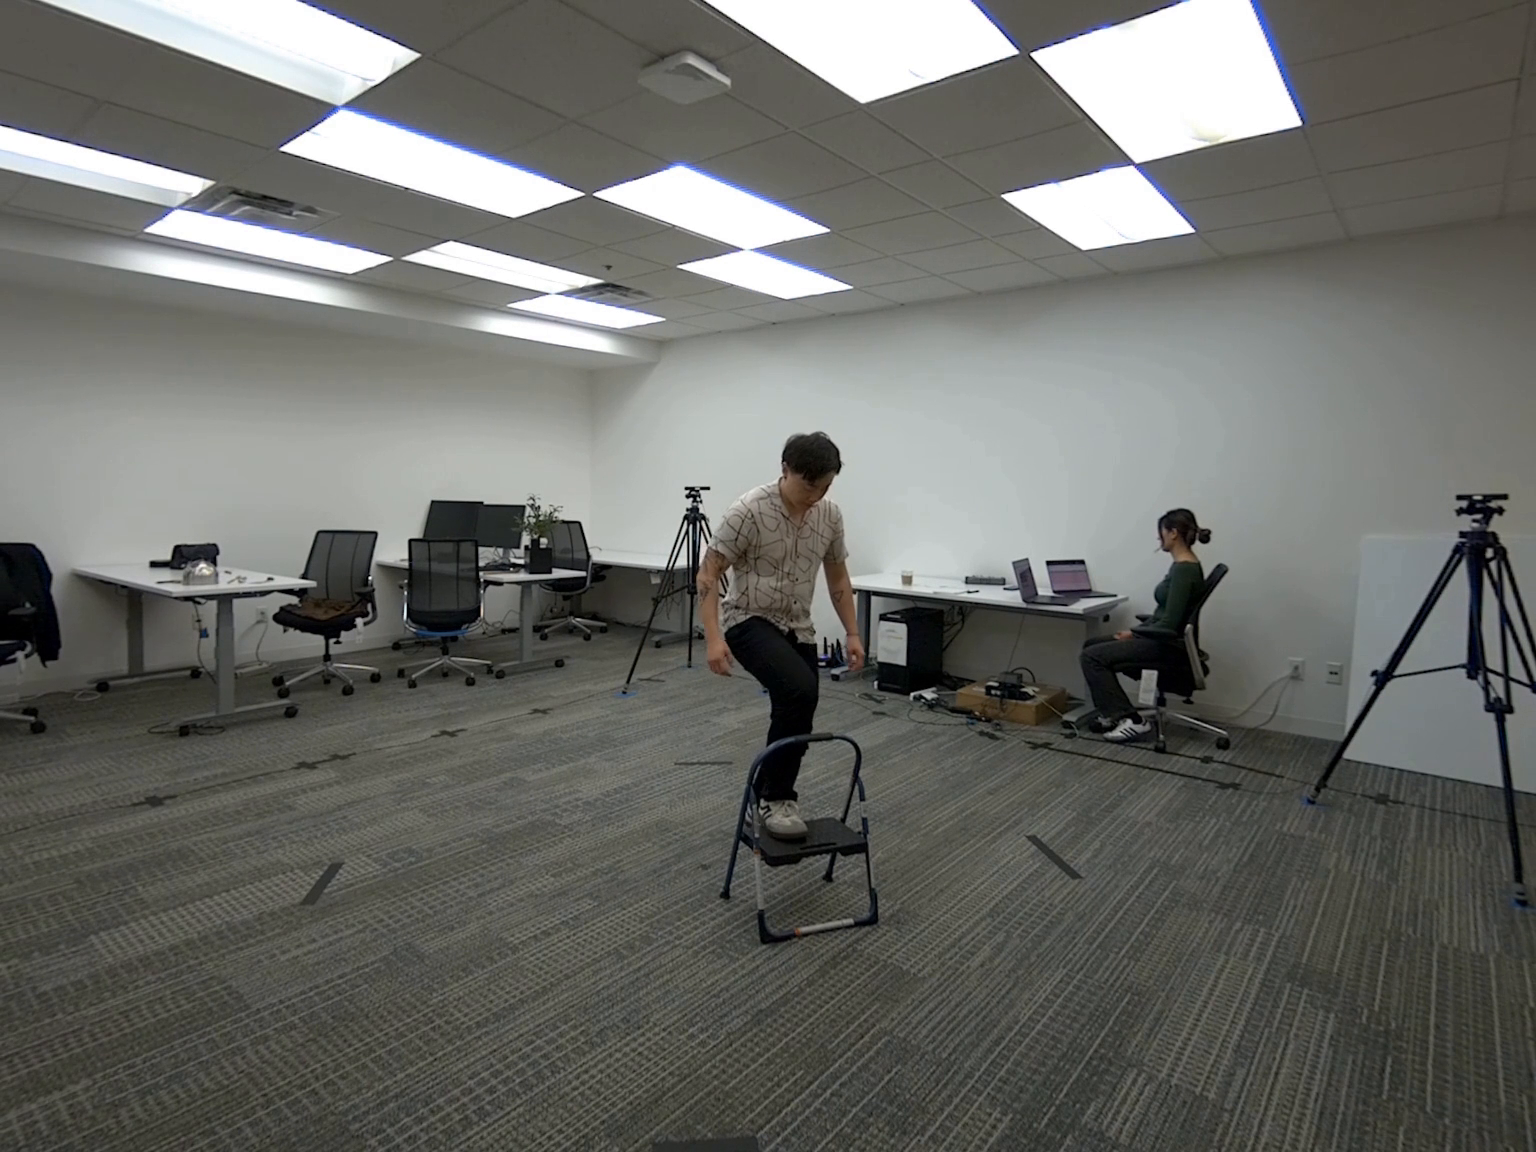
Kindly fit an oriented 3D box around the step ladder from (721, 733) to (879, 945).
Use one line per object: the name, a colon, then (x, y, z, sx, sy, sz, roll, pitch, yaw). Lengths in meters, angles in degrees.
step ladder: (0.099, 0.799, 2.804, 0.421, 0.604, 0.358, -1, 4, -24)
